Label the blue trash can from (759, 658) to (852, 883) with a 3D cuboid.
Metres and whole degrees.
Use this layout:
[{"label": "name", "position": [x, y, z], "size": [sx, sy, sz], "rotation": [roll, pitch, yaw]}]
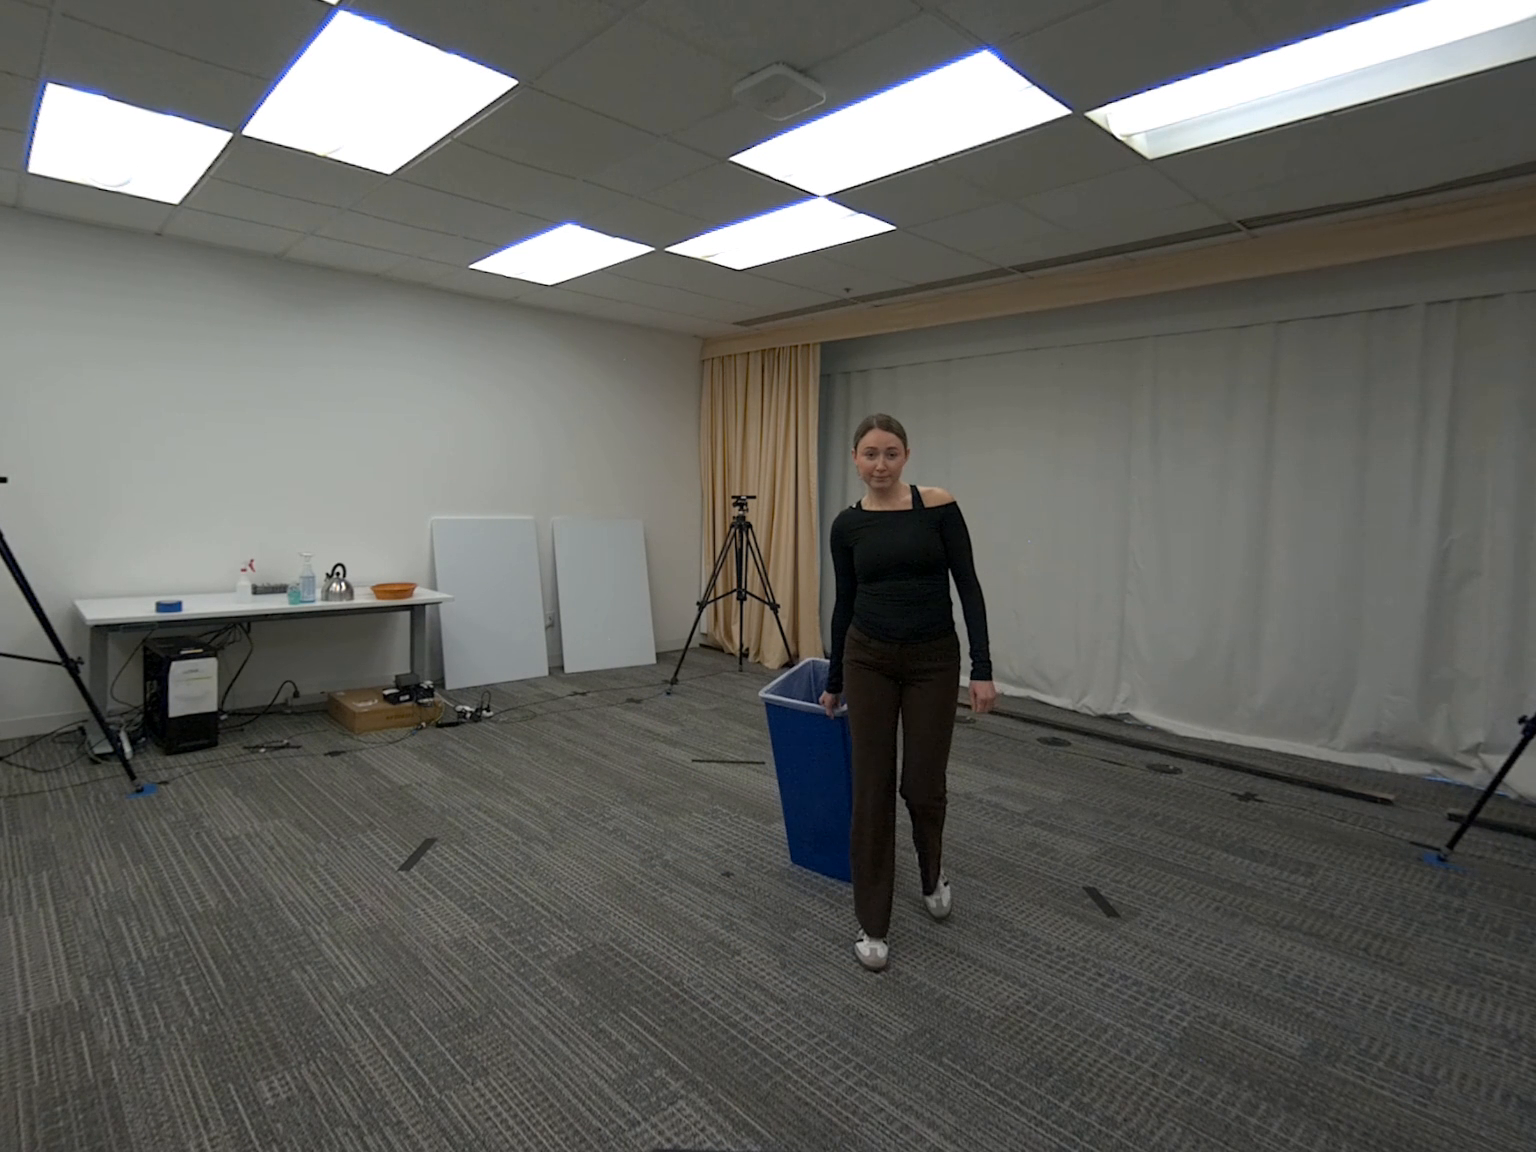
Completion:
[{"label": "blue trash can", "position": [0.239, 0.724, 3.140], "size": [0.387, 0.706, 0.369], "rotation": [4, 17, 36]}]
